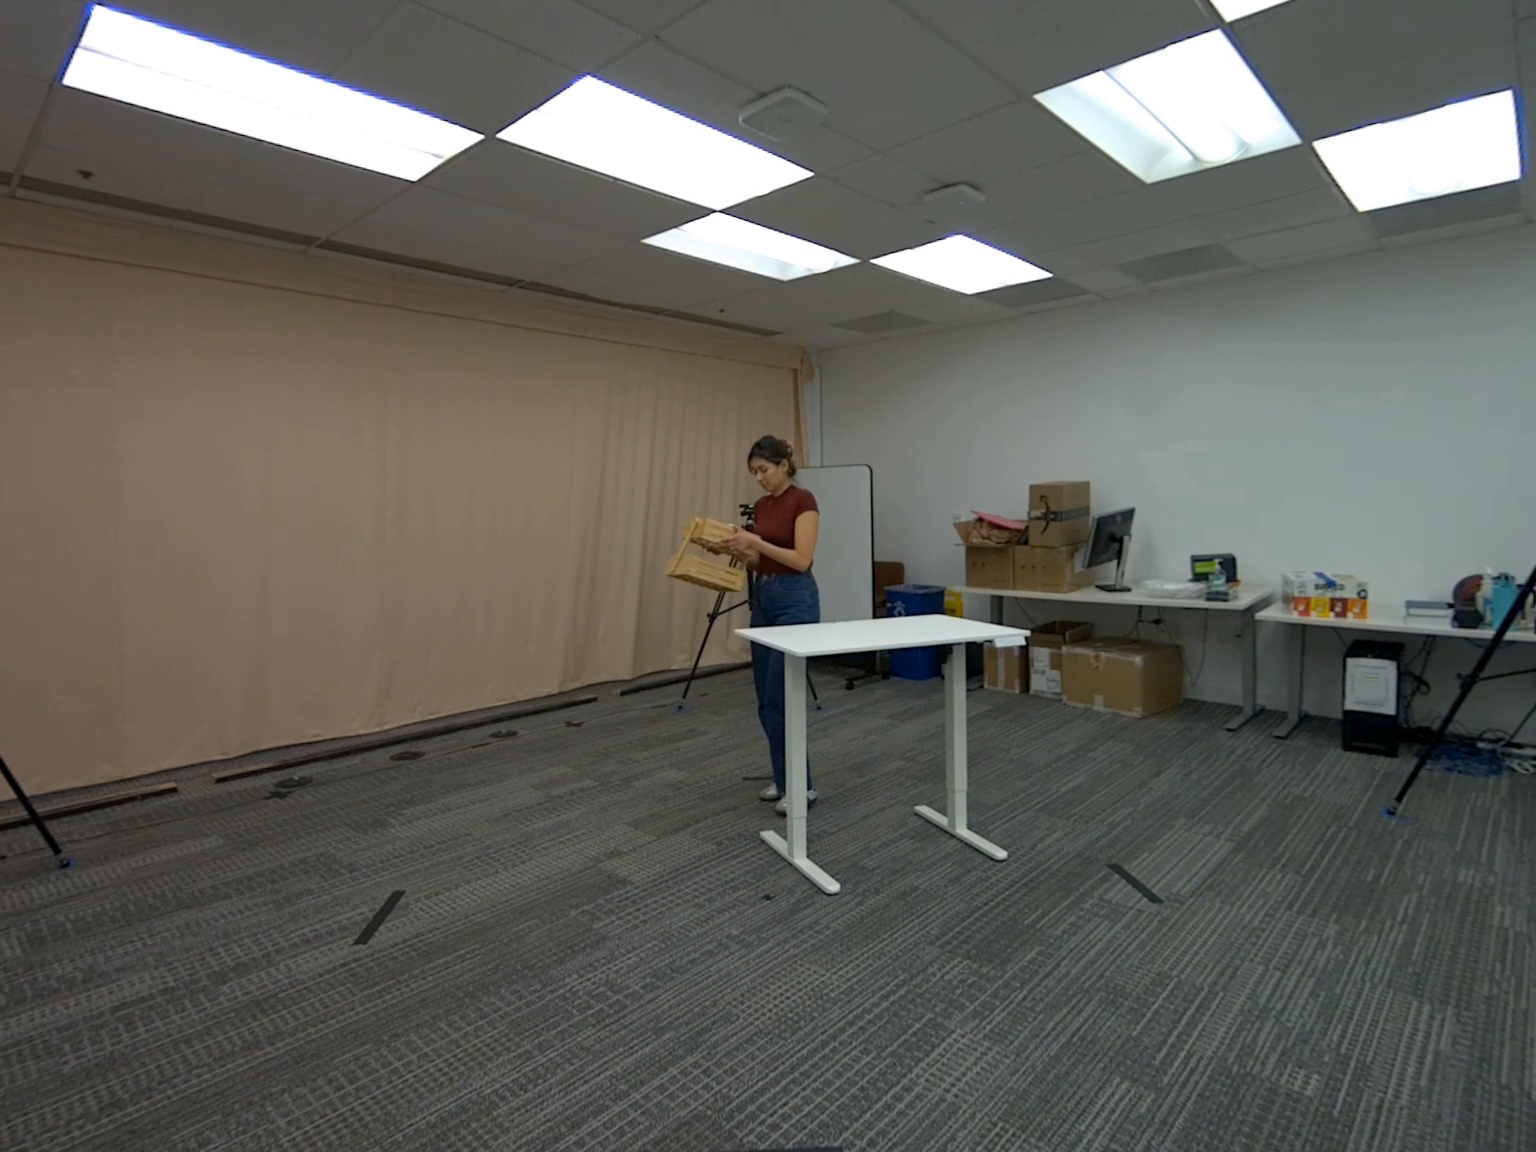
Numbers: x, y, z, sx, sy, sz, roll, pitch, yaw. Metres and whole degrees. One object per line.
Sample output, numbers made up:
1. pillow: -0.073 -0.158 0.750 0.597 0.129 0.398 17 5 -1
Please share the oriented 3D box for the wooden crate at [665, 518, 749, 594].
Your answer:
1. wooden crate: -0.262 -0.095 3.874 0.315 0.274 0.310 19 -10 -28
